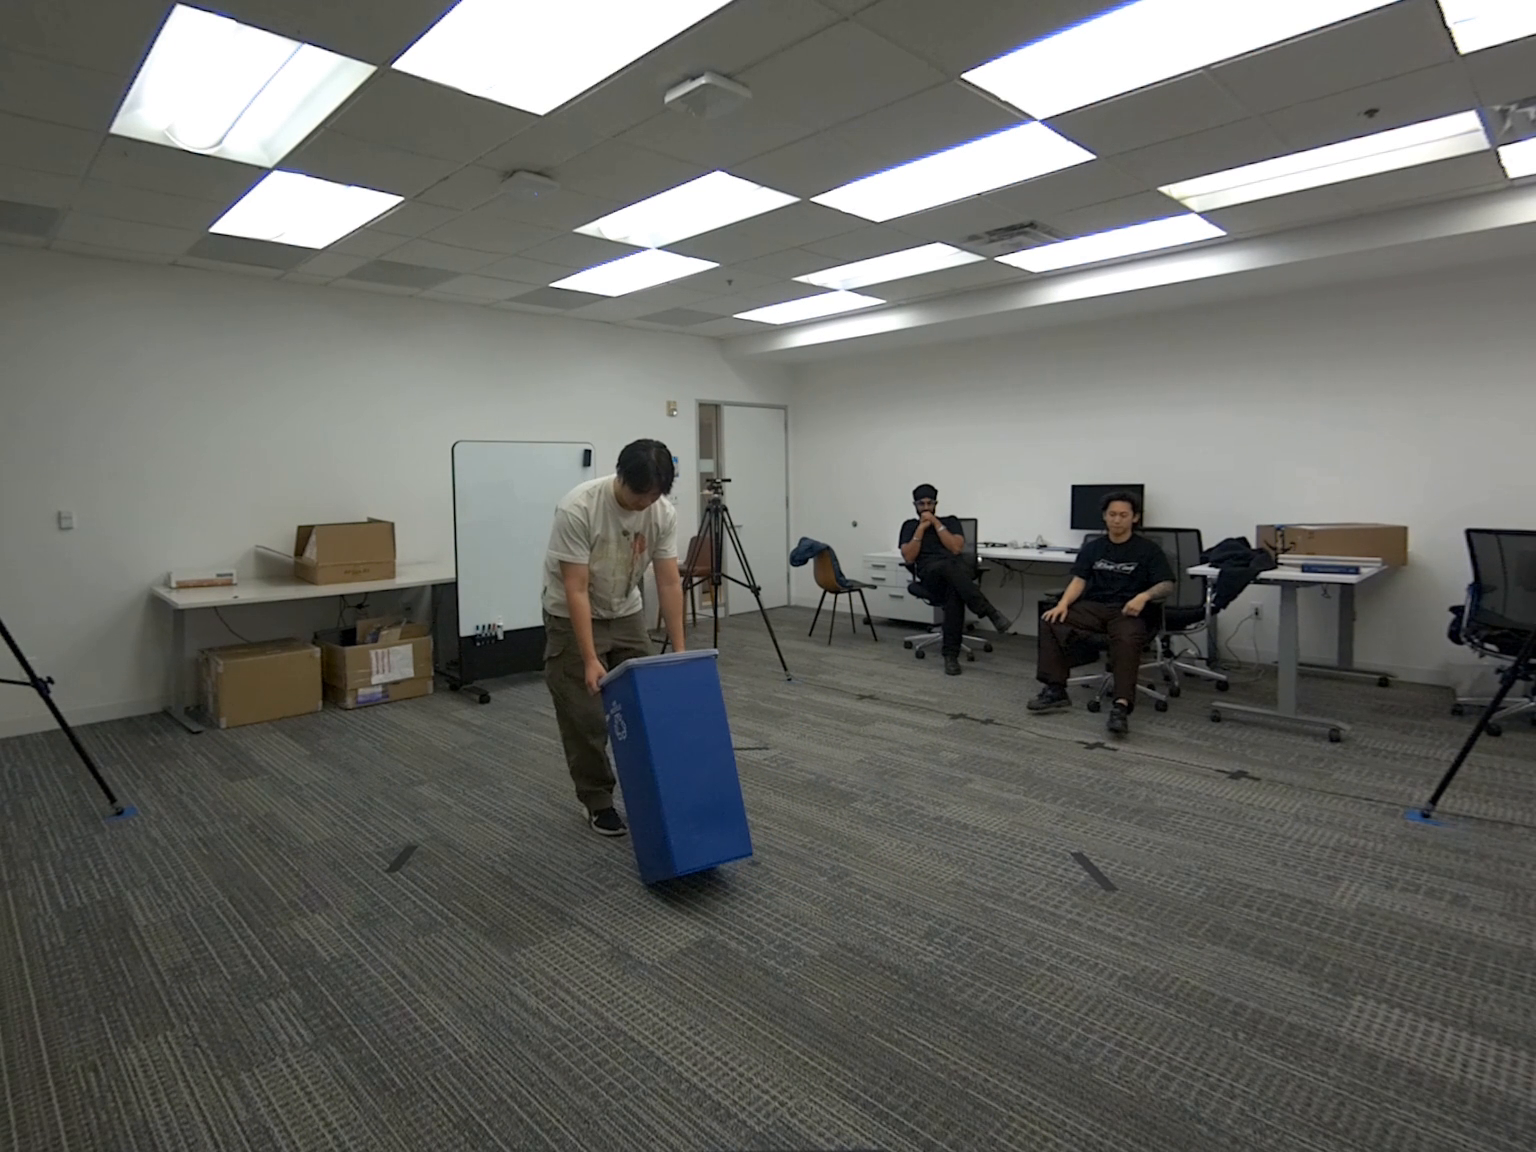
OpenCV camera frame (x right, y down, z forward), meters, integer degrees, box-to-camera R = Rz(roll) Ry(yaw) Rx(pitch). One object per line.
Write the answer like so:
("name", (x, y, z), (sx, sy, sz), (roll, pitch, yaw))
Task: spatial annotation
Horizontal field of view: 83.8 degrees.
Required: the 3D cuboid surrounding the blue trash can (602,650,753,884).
("blue trash can", (-0.320, 0.665, 3.022), (0.369, 0.728, 0.375), (-3, -22, -32))
